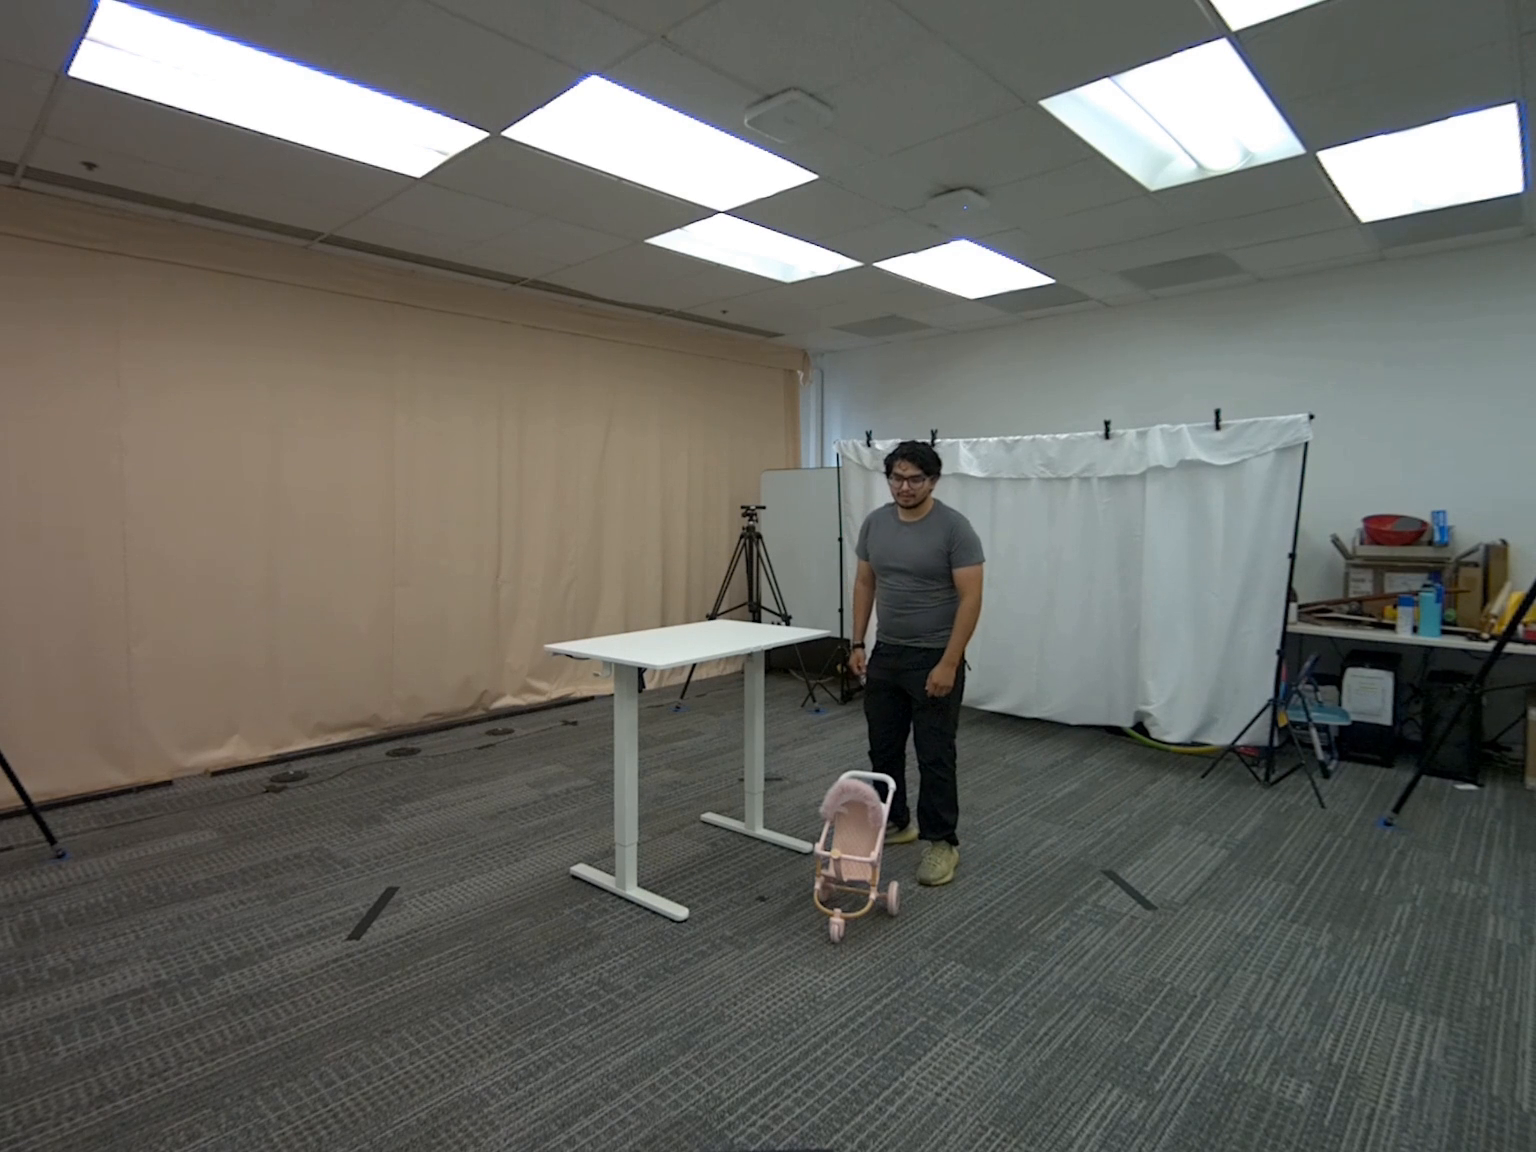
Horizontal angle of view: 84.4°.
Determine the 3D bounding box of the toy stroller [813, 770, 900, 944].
[{"bbox_3d":[0.289,0.931,2.849,0.289,0.538,0.330,0,-14,26],"label":"toy stroller"}]
